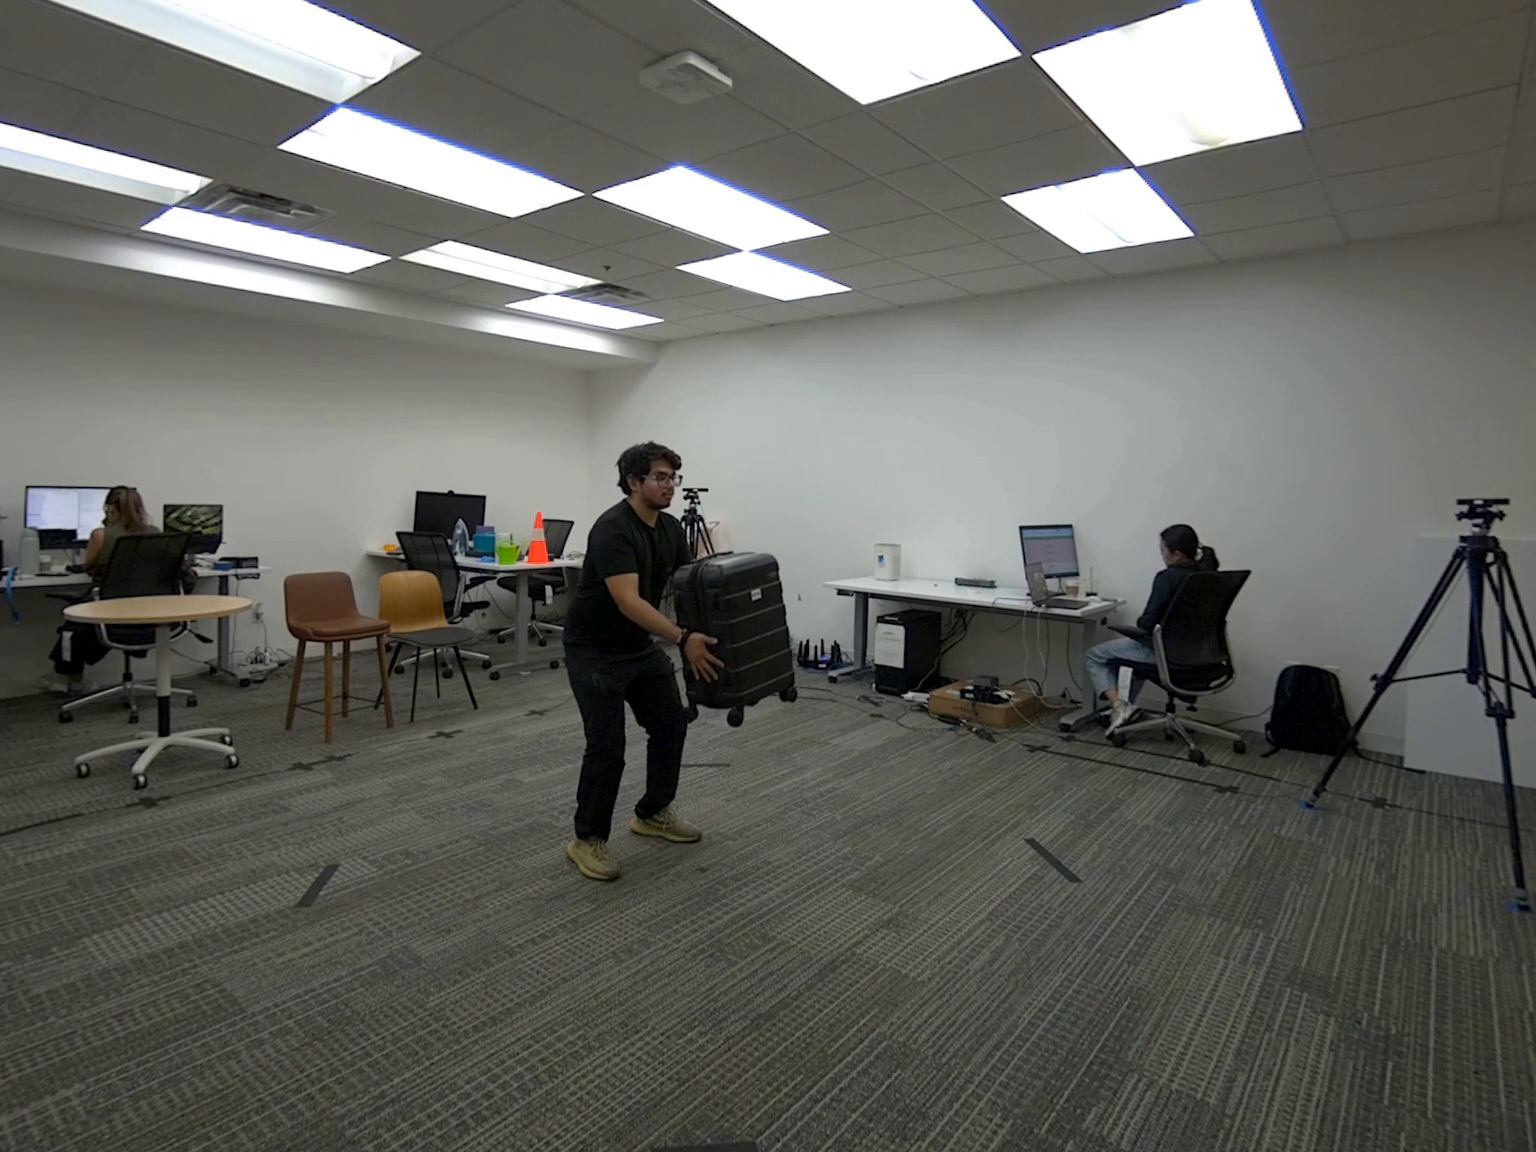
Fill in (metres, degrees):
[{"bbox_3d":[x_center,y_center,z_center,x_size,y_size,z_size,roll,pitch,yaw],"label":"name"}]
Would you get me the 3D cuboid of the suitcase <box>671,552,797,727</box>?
[{"bbox_3d":[-0.125,0.195,2.952,0.256,0.548,0.365,-4,4,39],"label":"suitcase"}]
